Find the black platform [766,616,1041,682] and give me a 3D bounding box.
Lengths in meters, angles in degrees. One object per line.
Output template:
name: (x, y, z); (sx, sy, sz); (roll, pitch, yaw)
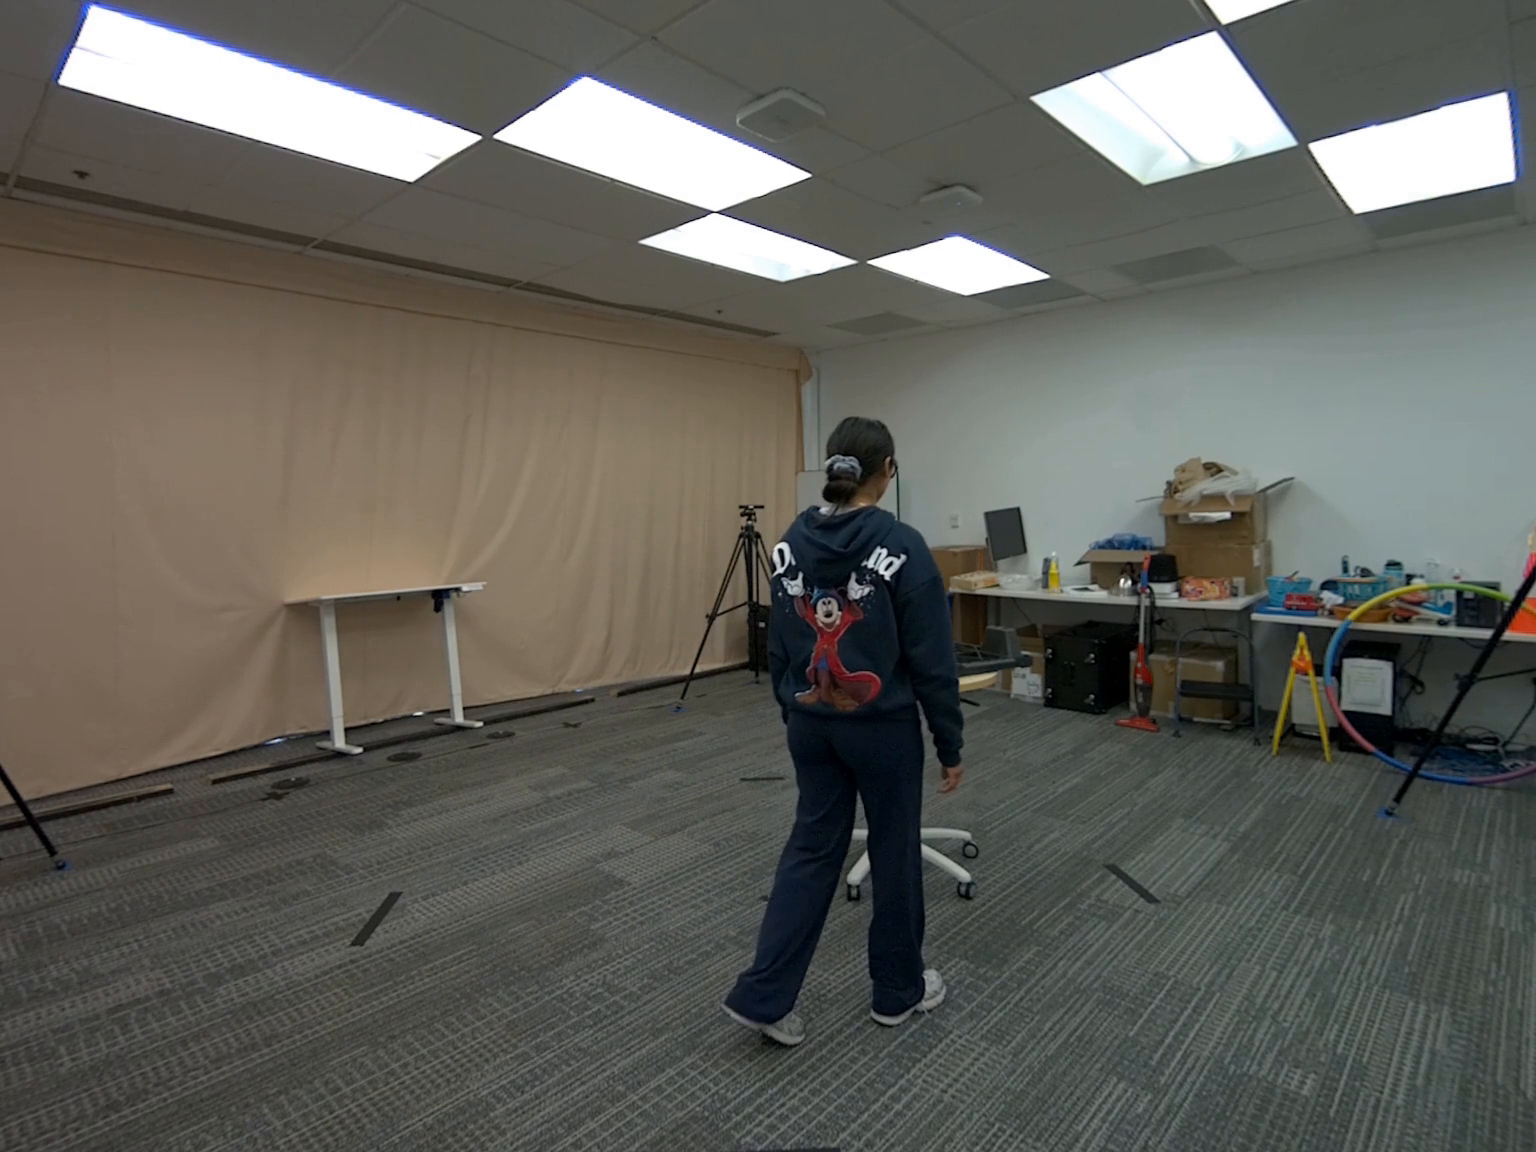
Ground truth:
black platform: (0.497, 0.269, 3.187); (0.784, 0.143, 0.623); (-3, 6, -30)
